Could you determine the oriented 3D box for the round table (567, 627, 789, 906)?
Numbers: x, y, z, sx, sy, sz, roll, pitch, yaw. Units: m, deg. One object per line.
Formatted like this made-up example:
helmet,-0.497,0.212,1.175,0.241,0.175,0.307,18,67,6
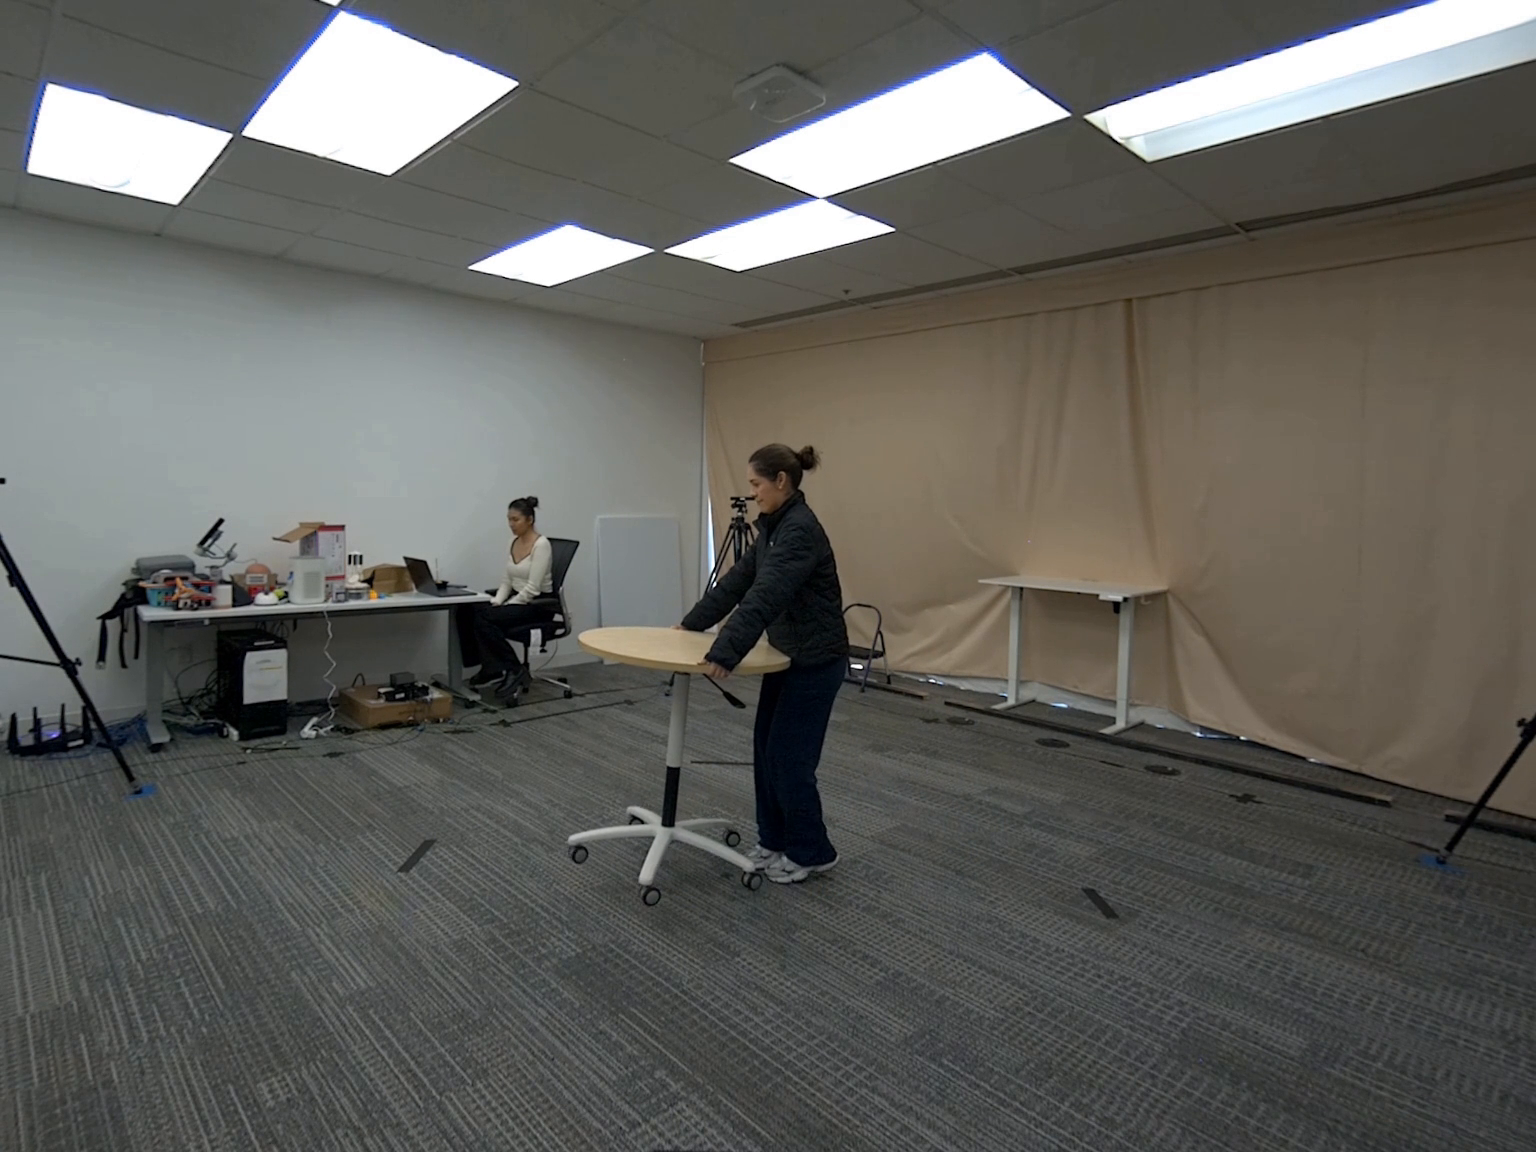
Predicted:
round table,-0.328,0.644,3.033,0.784,0.785,0.787,6,3,-2
